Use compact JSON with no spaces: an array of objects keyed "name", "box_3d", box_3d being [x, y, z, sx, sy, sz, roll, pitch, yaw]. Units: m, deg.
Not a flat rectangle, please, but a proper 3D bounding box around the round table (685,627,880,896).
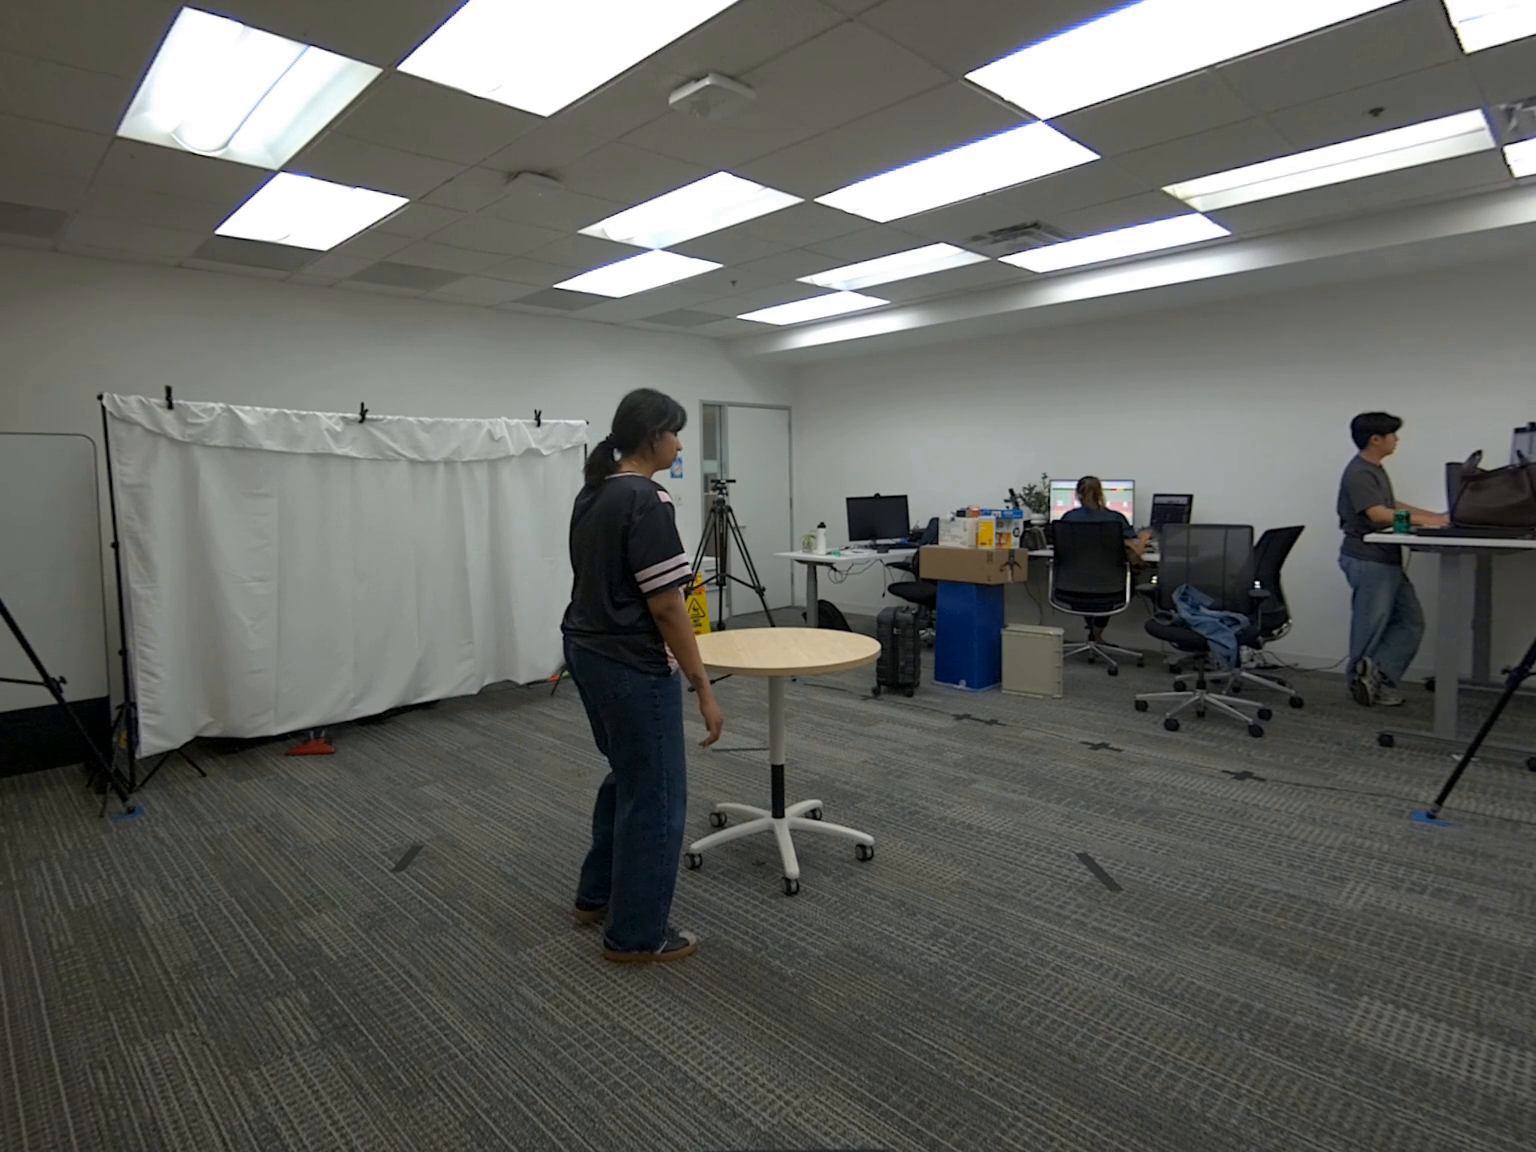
[{"name":"round table","box_3d":[0.036,0.650,3.170,0.763,0.791,0.768,-1,5,-2]}]
